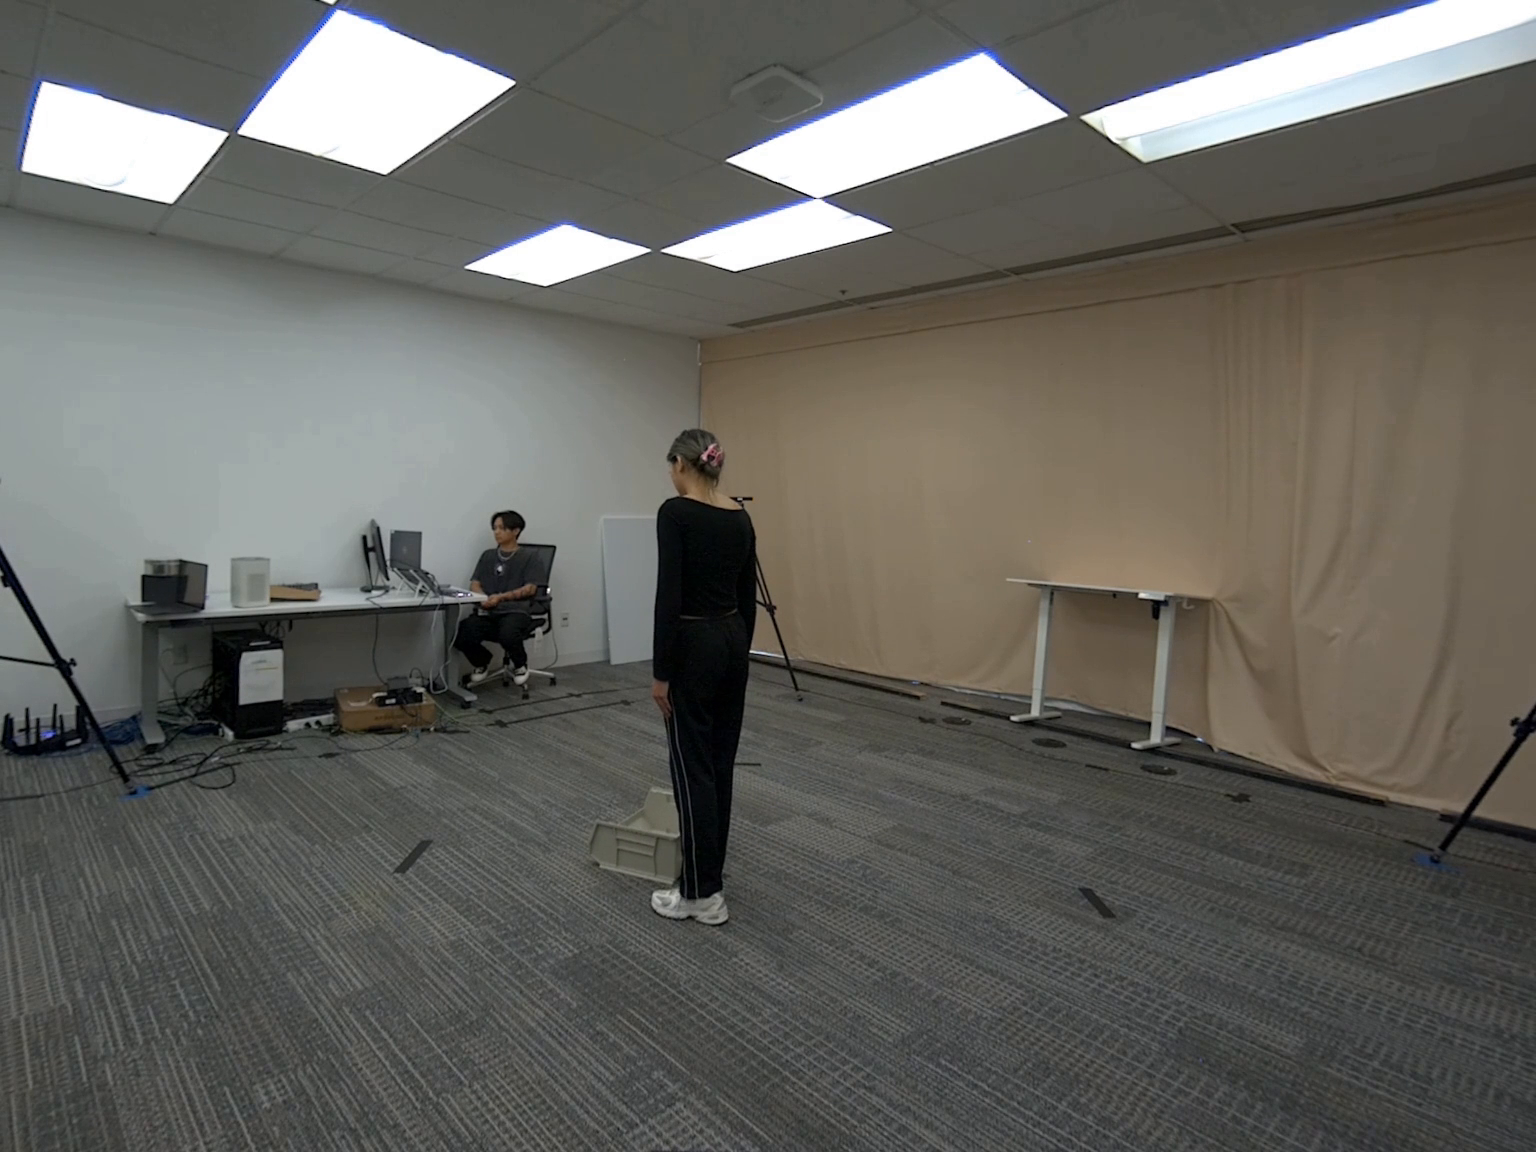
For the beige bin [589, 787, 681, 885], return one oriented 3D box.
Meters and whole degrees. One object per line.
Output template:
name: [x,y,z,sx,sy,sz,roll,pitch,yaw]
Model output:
beige bin: [-0.434,1.000,3.274,0.384,0.188,0.416,4,5,22]
